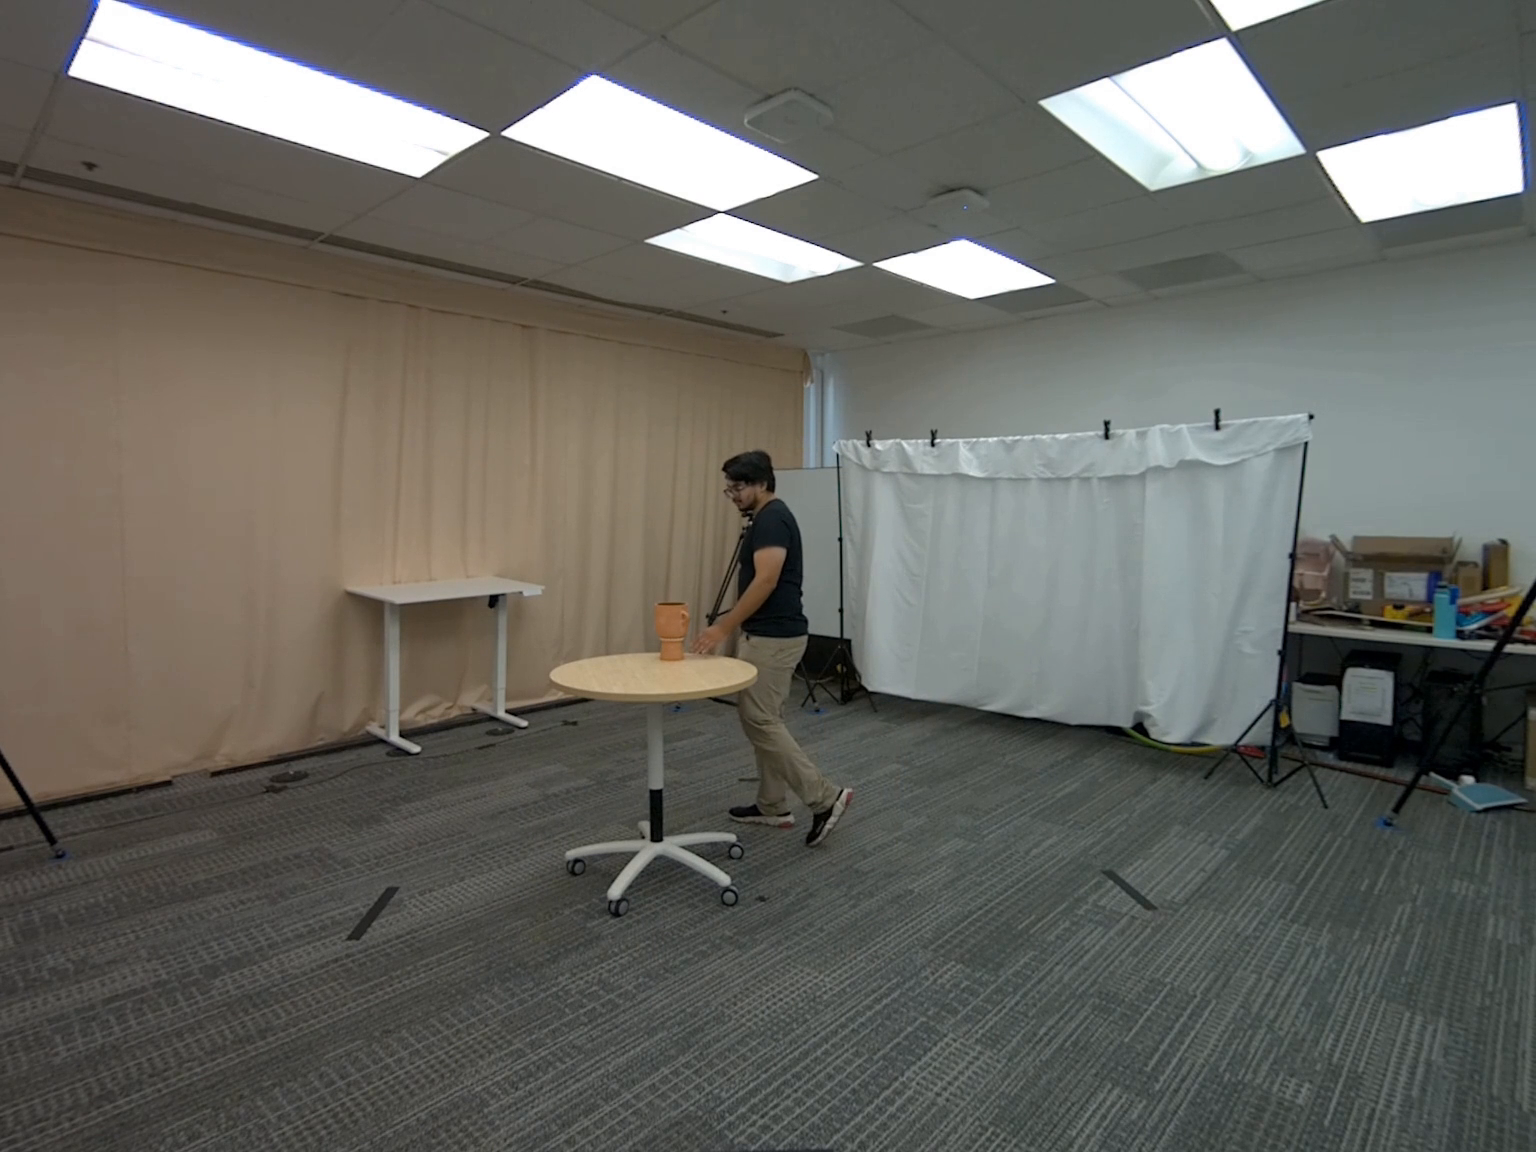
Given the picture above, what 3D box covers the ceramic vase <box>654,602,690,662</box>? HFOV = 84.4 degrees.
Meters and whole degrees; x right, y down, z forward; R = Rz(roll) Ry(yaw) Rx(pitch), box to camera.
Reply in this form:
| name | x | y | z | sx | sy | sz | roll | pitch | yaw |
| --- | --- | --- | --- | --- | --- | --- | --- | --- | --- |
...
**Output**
| name | x | y | z | sx | sy | sz | roll | pitch | yaw |
| --- | --- | --- | --- | --- | --- | --- | --- | --- | --- |
| ceramic vase | -0.381 | 0.222 | 3.365 | 0.133 | 0.219 | 0.160 | -2 | 4 | -9 |
